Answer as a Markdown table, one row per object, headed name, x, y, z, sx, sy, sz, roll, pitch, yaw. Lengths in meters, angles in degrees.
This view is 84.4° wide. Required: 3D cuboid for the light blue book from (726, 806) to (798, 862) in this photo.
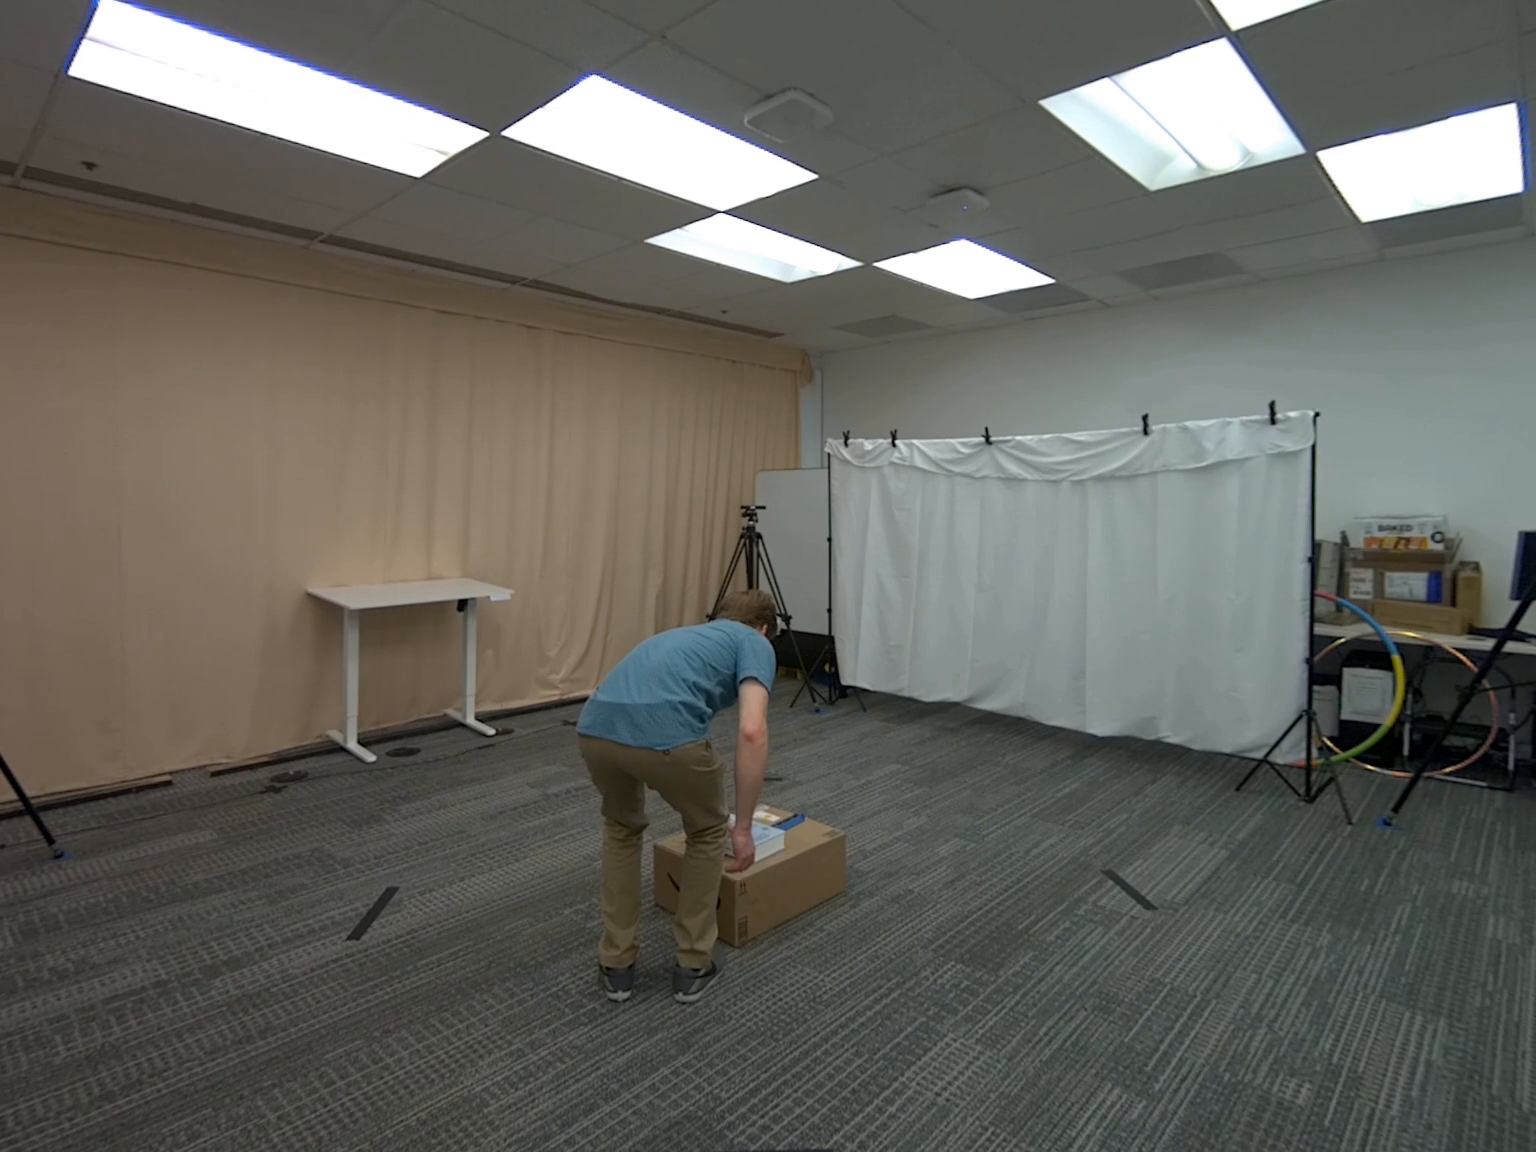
| name | x | y | z | sx | sy | sz | roll | pitch | yaw |
| --- | --- | --- | --- | --- | --- | --- | --- | --- | --- |
| light blue book | -0.087 | 0.907 | 2.930 | 0.269 | 0.059 | 0.185 | 3 | 4 | 40 |
